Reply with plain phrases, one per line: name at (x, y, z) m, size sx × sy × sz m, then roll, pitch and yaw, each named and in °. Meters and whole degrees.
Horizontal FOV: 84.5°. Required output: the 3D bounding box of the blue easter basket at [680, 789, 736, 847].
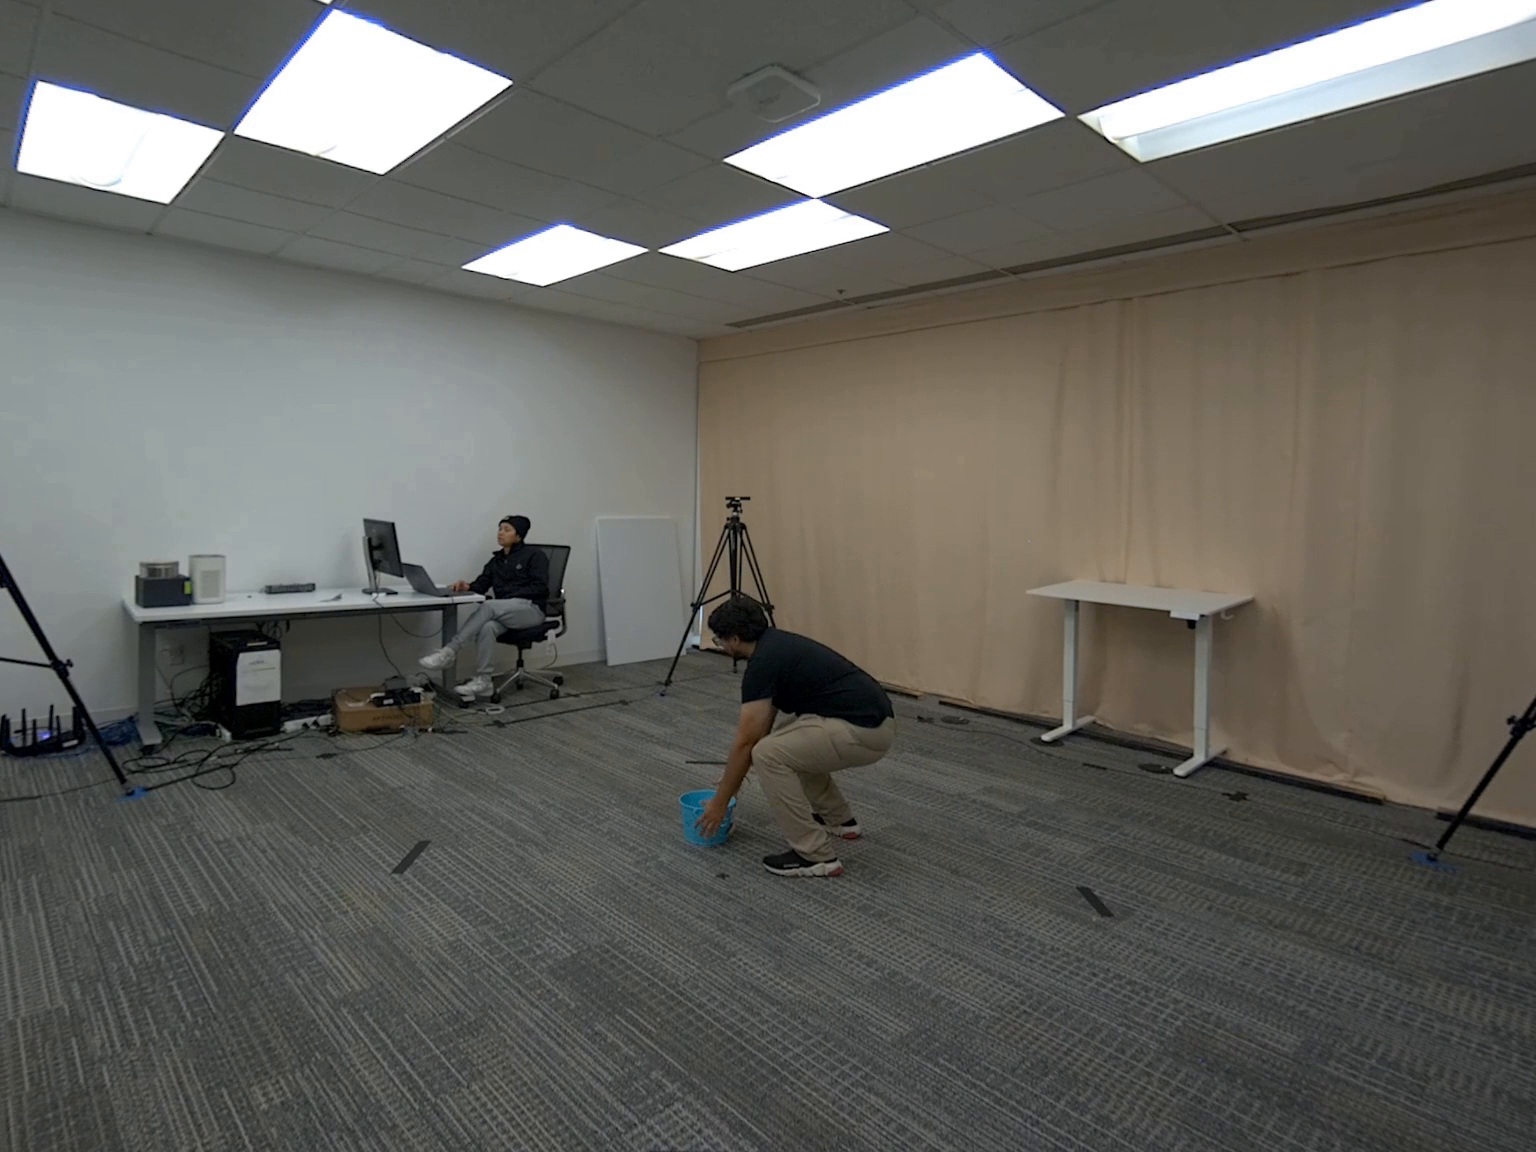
blue easter basket at (-0.258, 0.998, 3.468) m, size 0.243 × 0.155 × 0.244 m, roll -1°, pitch 3°, yaw -1°
